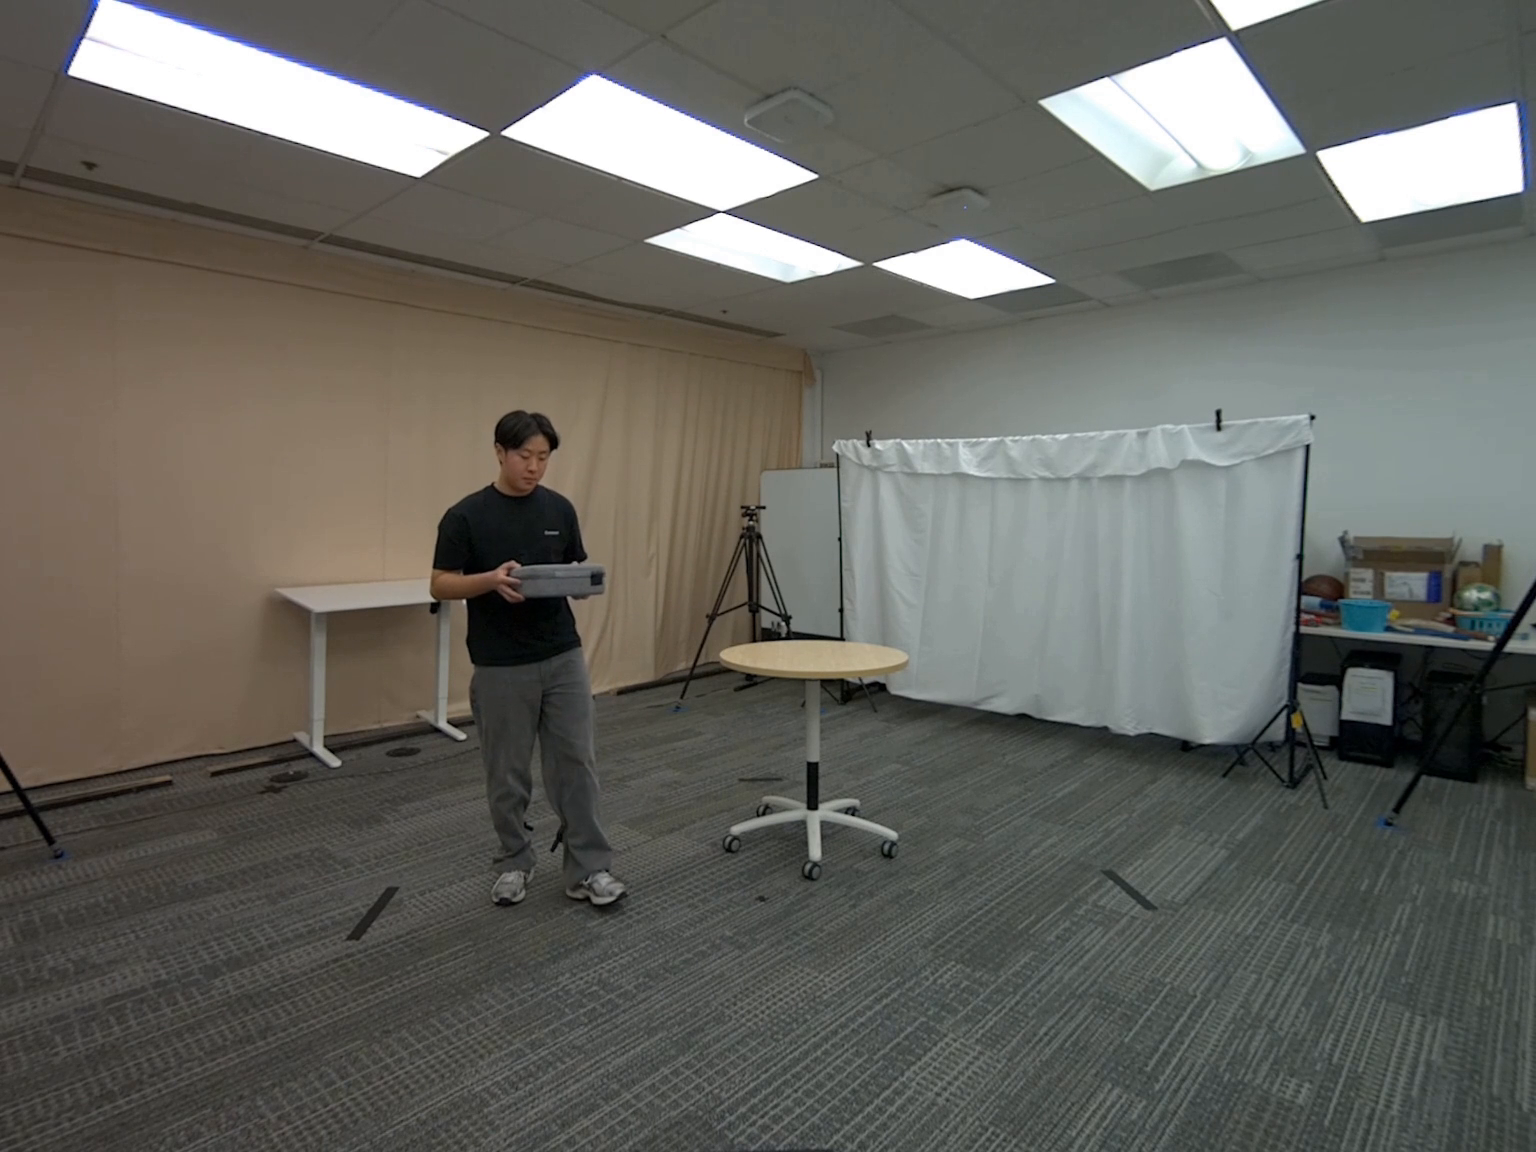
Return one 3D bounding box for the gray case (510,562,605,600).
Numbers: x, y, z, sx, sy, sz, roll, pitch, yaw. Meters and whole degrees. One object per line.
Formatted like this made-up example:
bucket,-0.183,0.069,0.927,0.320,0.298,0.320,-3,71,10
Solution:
gray case,-0.697,0.014,2.791,0.256,0.103,0.295,-2,1,-30
